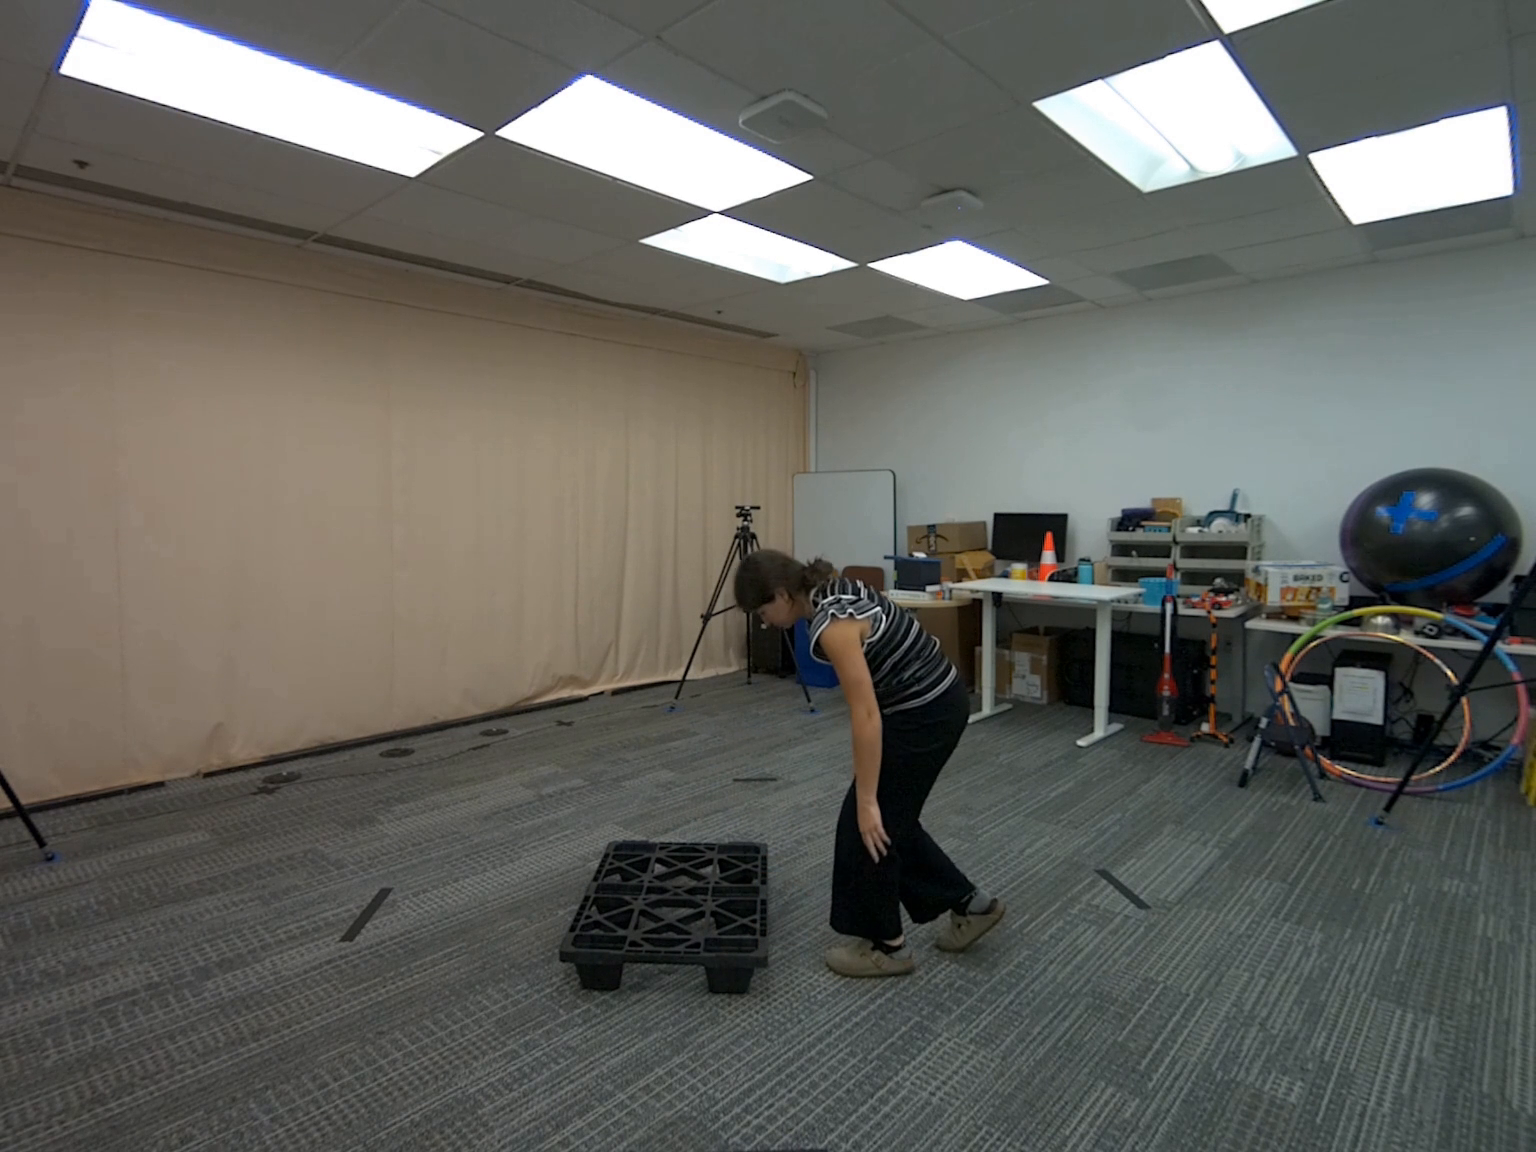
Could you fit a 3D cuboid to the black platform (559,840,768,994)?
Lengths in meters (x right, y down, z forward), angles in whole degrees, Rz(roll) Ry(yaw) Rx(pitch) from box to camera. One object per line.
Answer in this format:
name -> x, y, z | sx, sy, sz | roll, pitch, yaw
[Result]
black platform -> -0.296, 1.096, 2.773 | 0.607, 0.143, 0.805 | 0, 5, 2
